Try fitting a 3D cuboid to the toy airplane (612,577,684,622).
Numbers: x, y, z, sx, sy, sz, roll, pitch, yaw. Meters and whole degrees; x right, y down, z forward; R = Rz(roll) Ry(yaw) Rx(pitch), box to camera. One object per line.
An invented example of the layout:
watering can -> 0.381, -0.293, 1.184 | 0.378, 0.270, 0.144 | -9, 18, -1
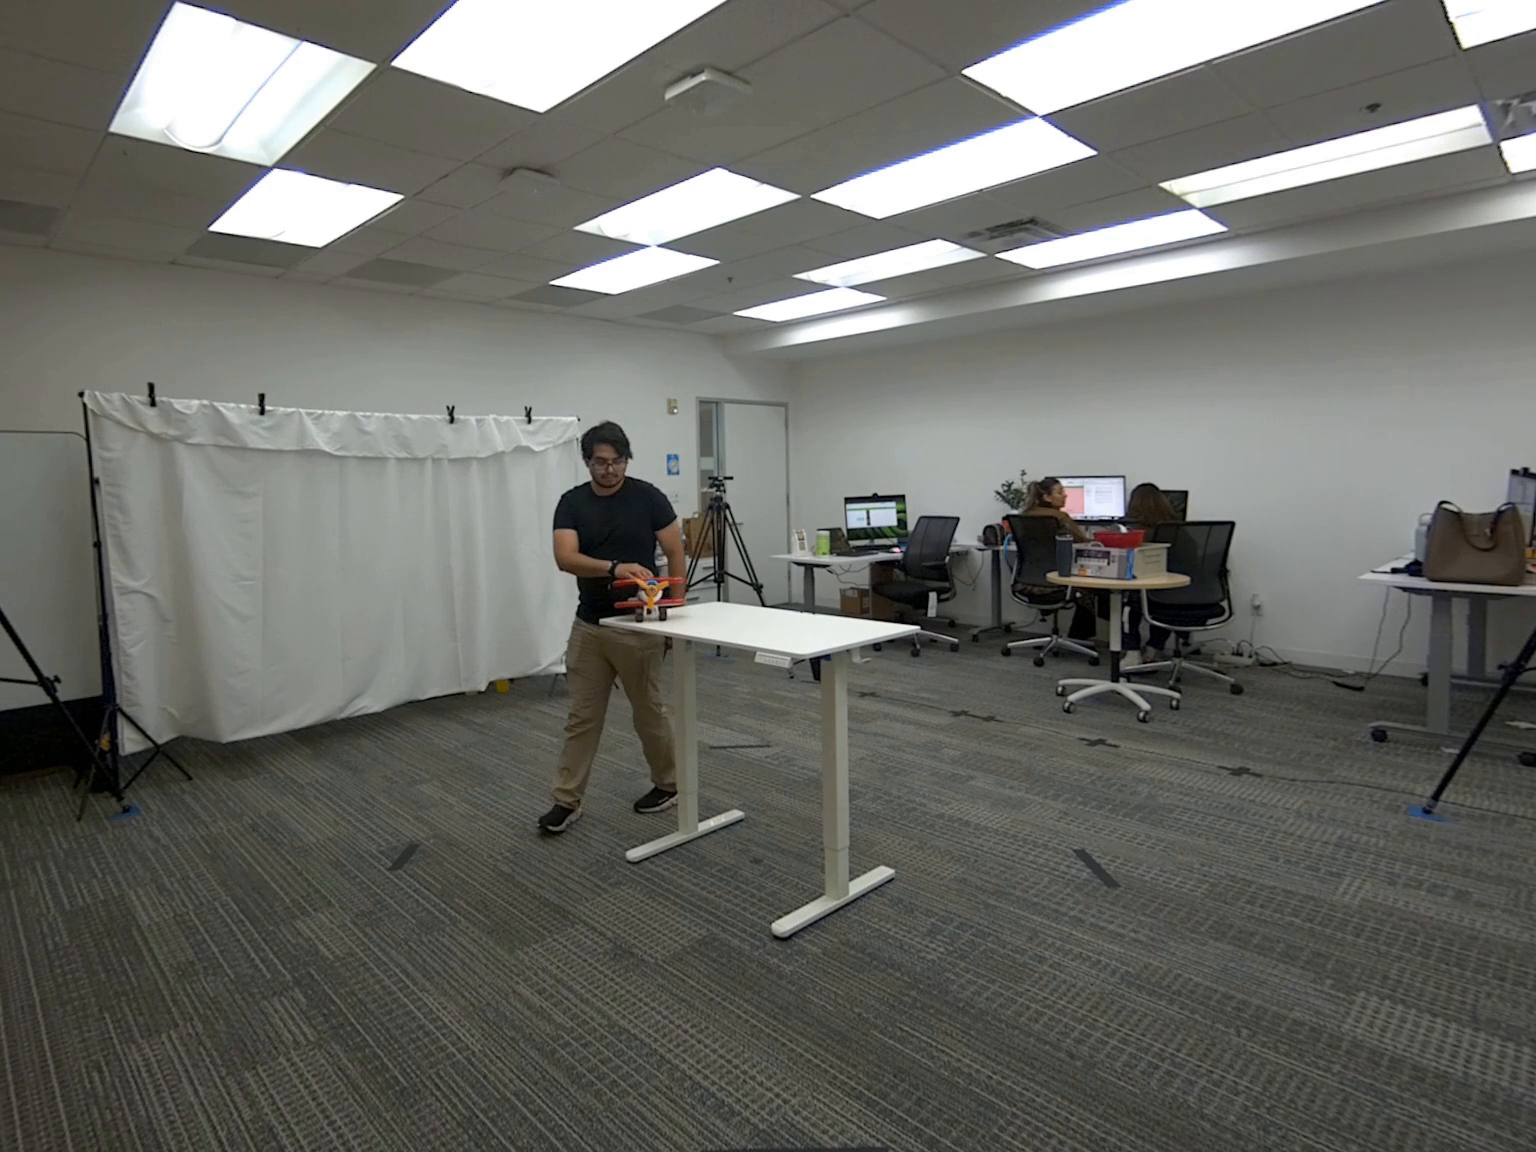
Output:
toy airplane -> -0.467, 0.082, 3.166 | 0.244, 0.156, 0.267 | -4, 6, -41
